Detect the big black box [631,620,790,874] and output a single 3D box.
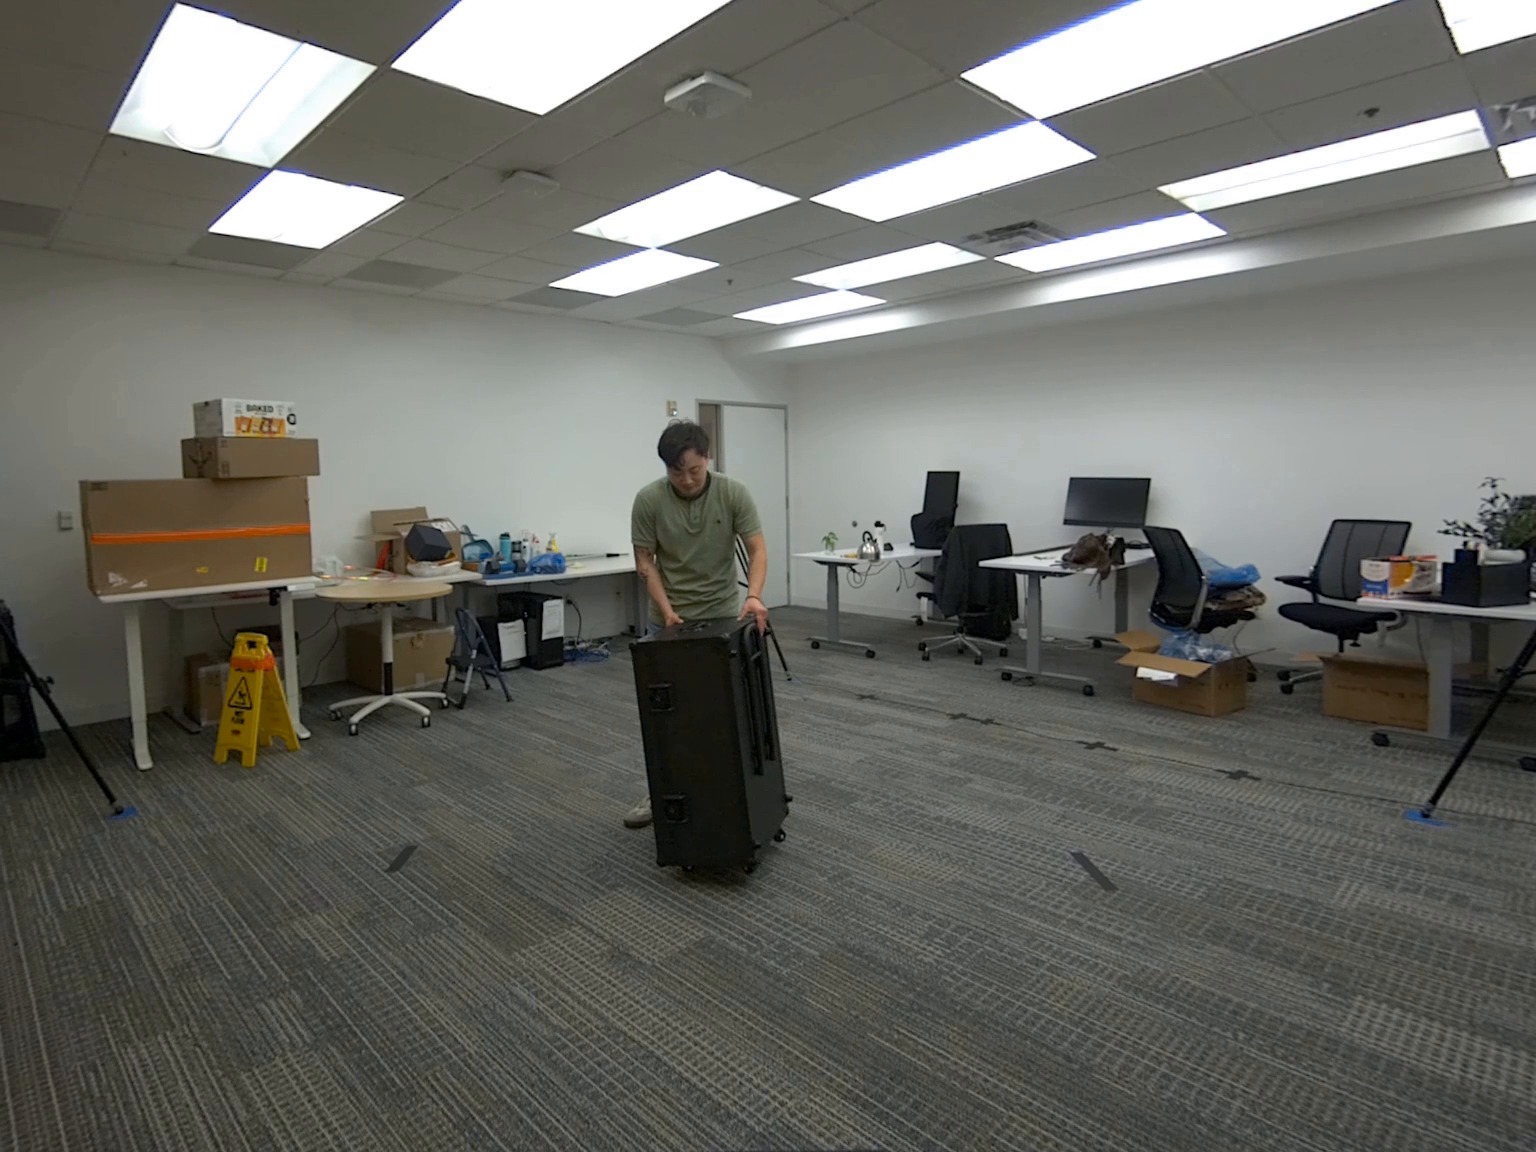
[{"bbox_3d":[-0.175,0.611,3.116,0.402,0.859,0.515,-6,3,17],"label":"big black box"}]
